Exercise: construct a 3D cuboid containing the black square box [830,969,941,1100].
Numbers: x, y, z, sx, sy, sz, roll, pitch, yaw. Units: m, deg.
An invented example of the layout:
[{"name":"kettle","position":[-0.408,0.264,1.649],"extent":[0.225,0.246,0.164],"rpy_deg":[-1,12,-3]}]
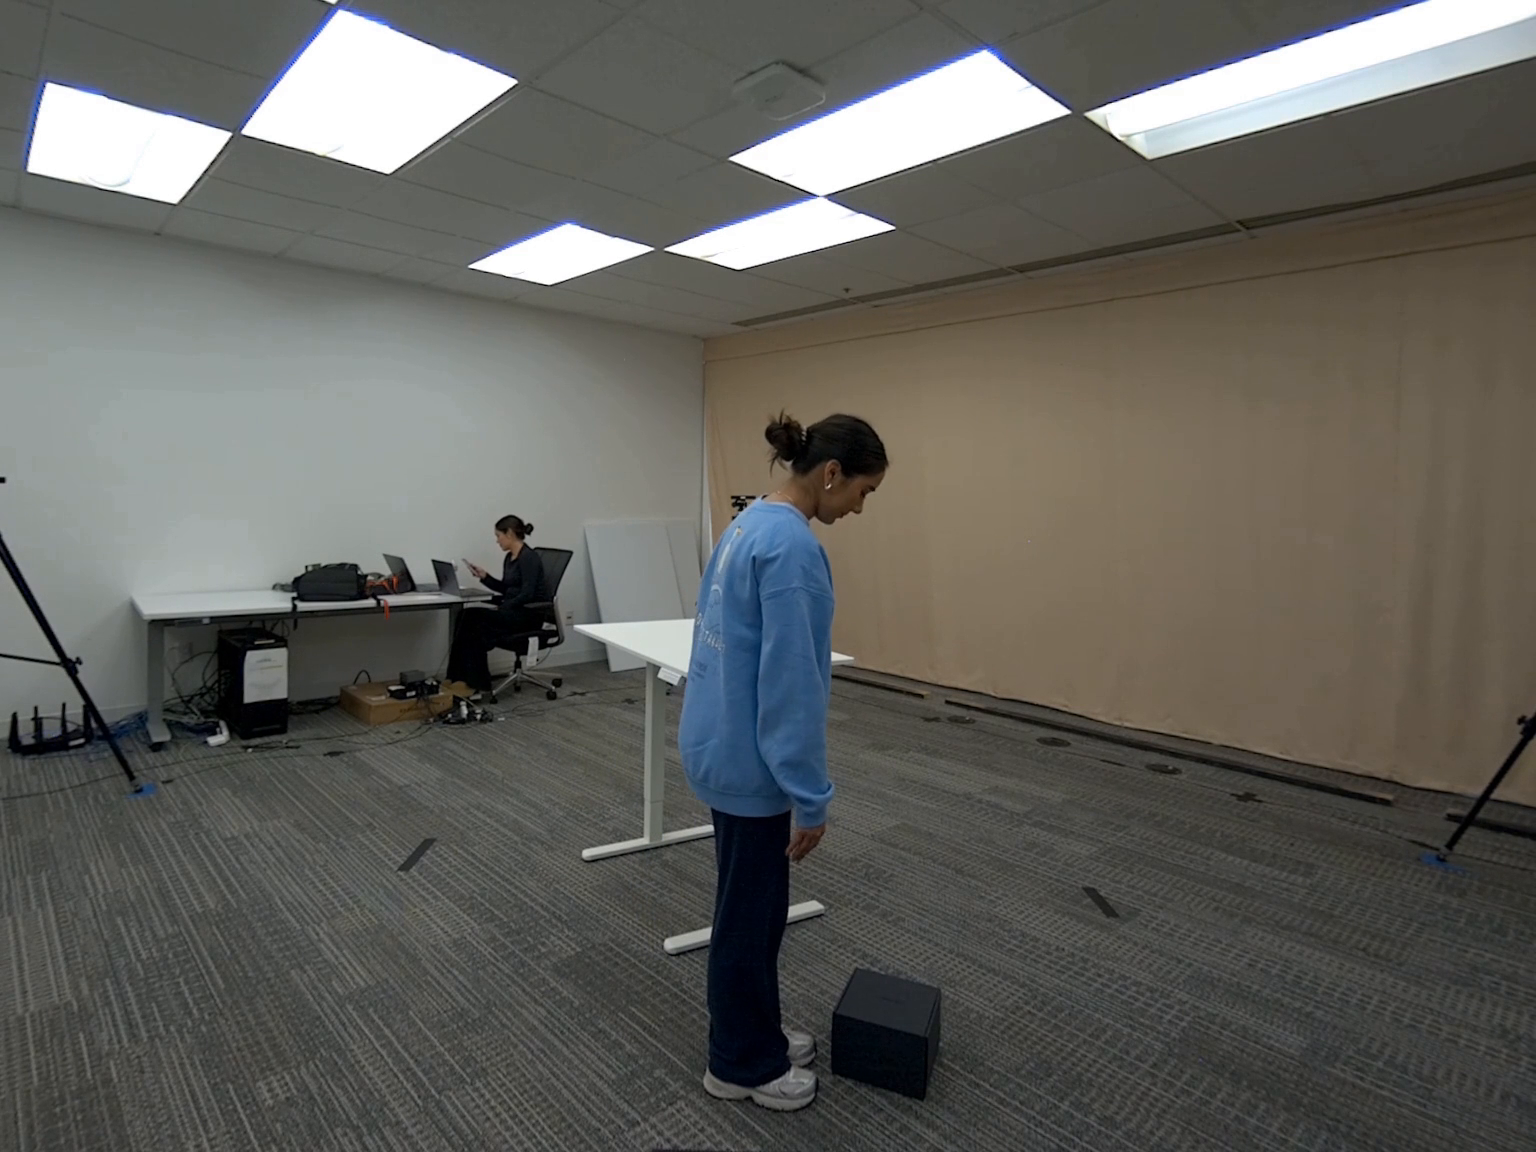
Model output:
[{"name":"black square box","position":[0.294,1.127,2.090],"extent":[0.232,0.155,0.214],"rpy_deg":[3,5,21]}]
